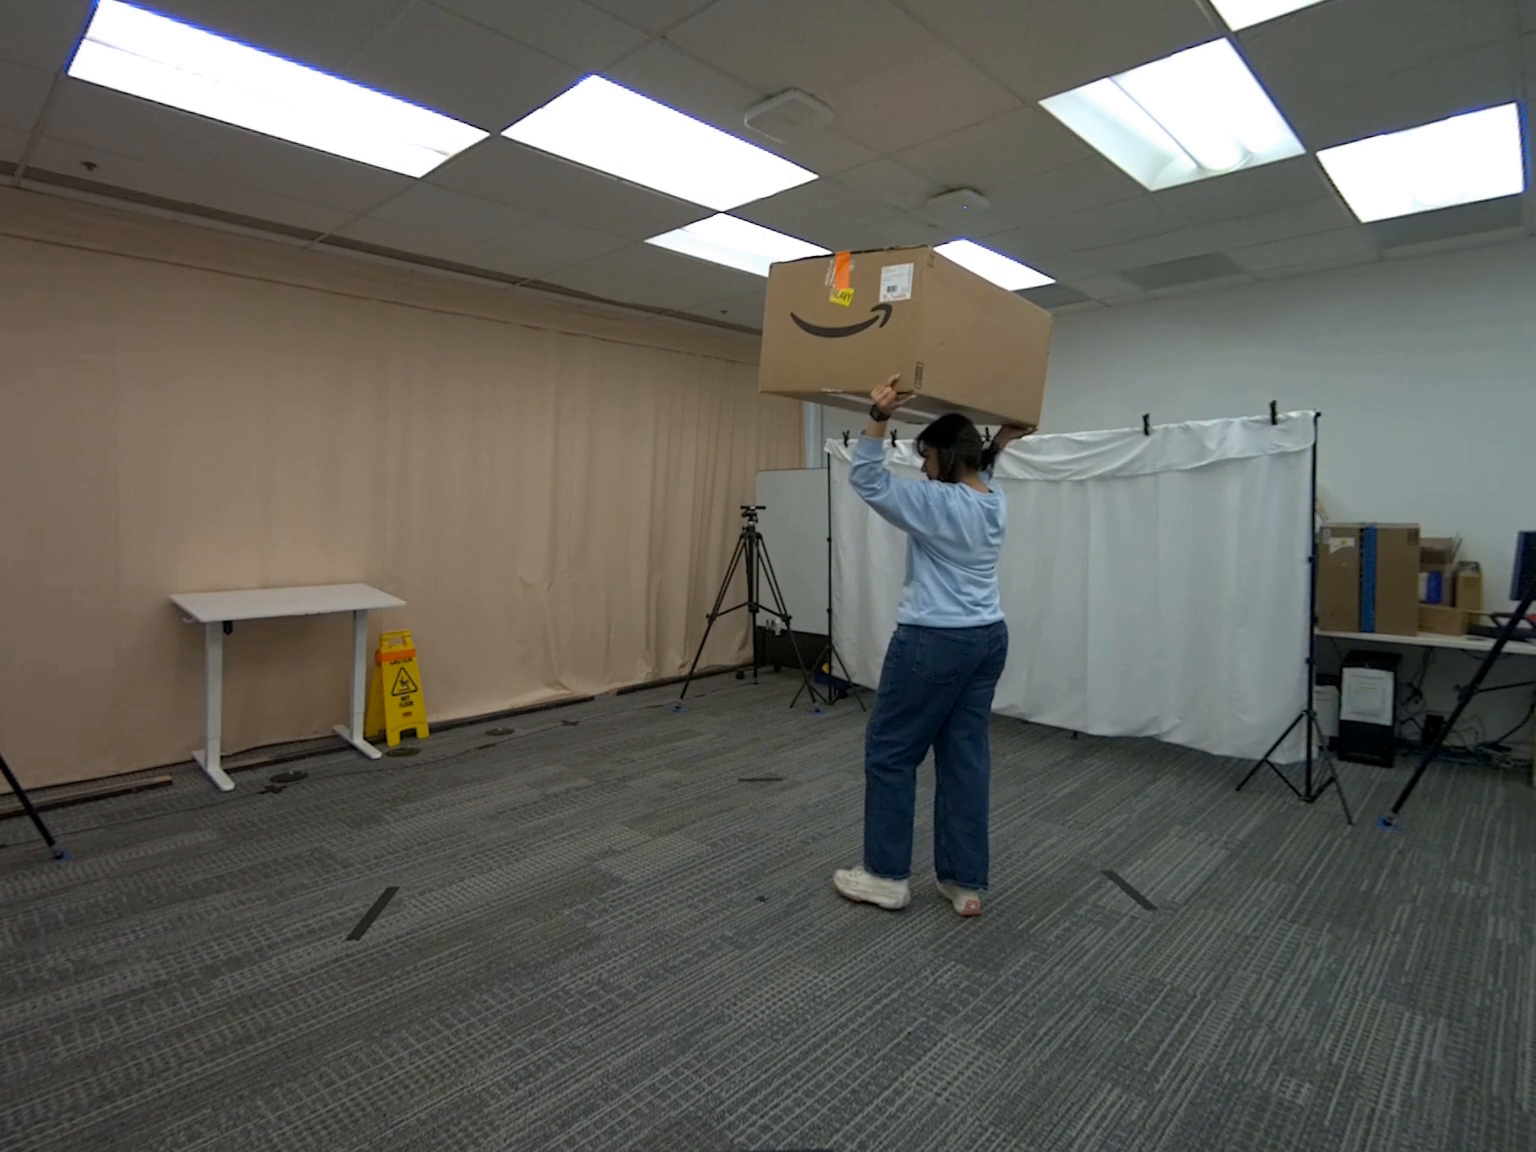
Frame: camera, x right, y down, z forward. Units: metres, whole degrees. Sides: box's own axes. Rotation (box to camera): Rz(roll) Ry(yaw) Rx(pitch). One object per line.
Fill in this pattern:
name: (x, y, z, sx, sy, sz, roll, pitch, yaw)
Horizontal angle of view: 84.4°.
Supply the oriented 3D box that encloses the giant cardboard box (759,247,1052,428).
giant cardboard box: (0.520, -0.797, 2.987, 0.597, 0.425, 0.994, 9, 8, 38)
